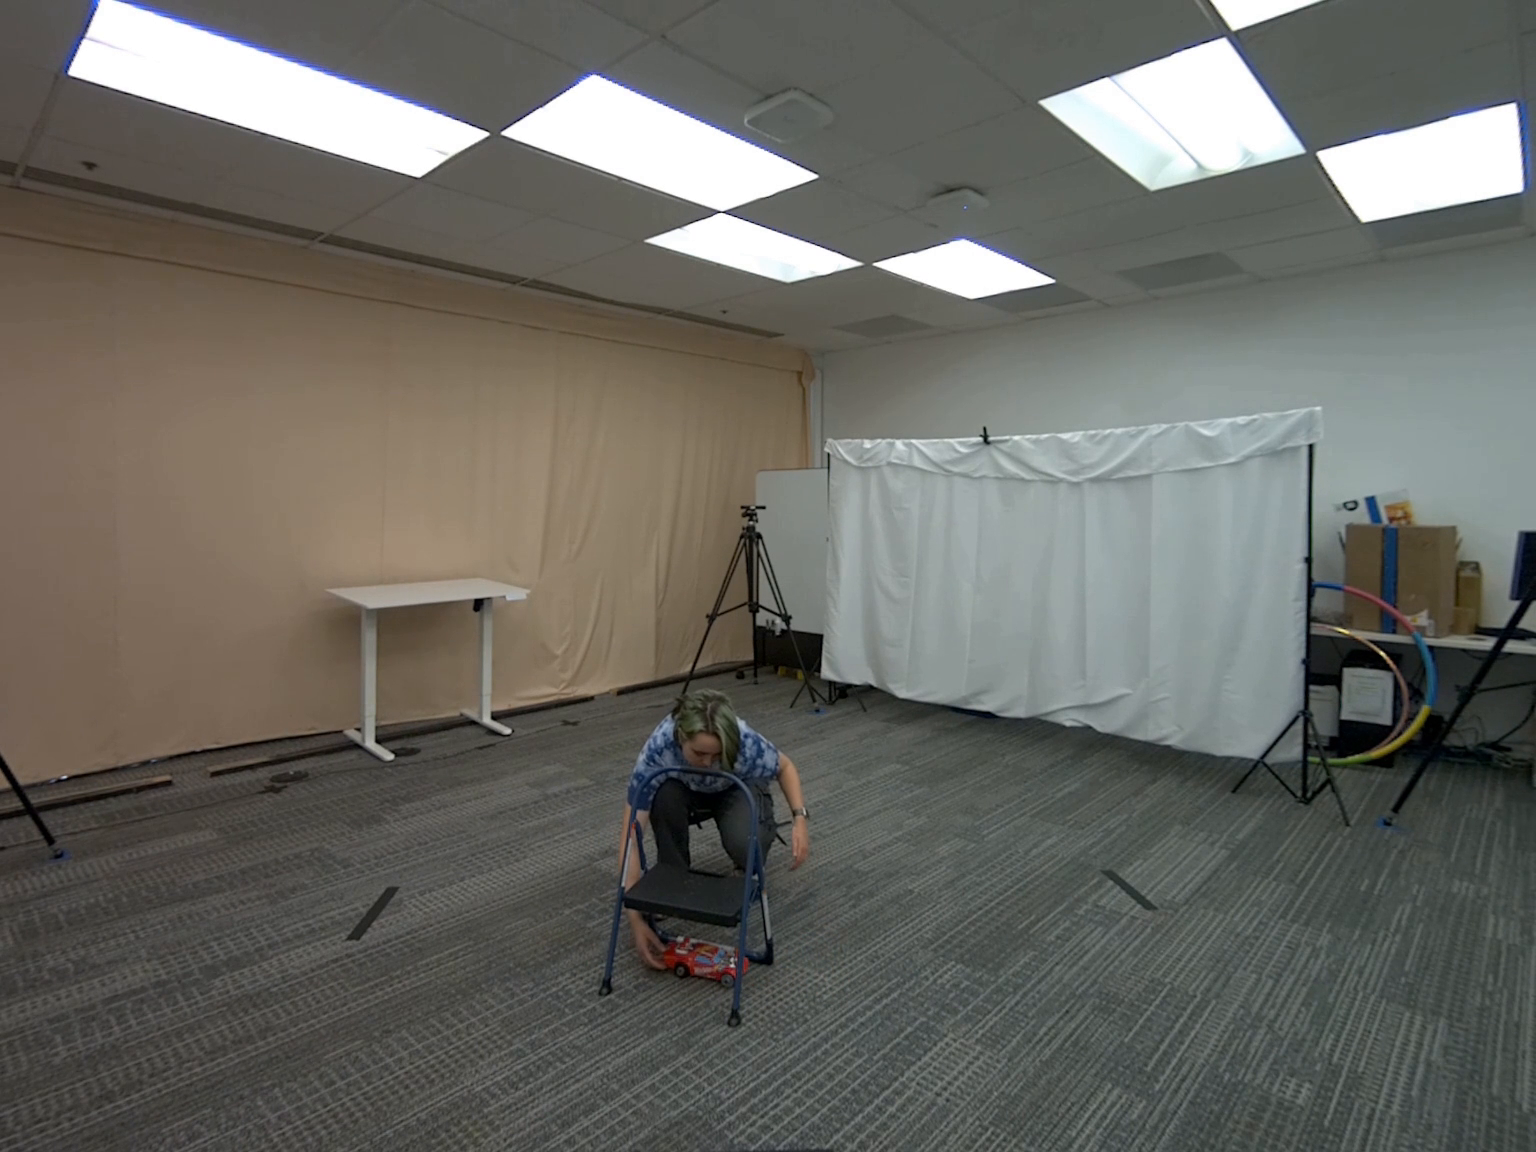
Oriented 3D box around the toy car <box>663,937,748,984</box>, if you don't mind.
[{"bbox_3d":[-0.187,1.150,2.516,0.260,0.083,0.128,13,12,17],"label":"toy car"}]
